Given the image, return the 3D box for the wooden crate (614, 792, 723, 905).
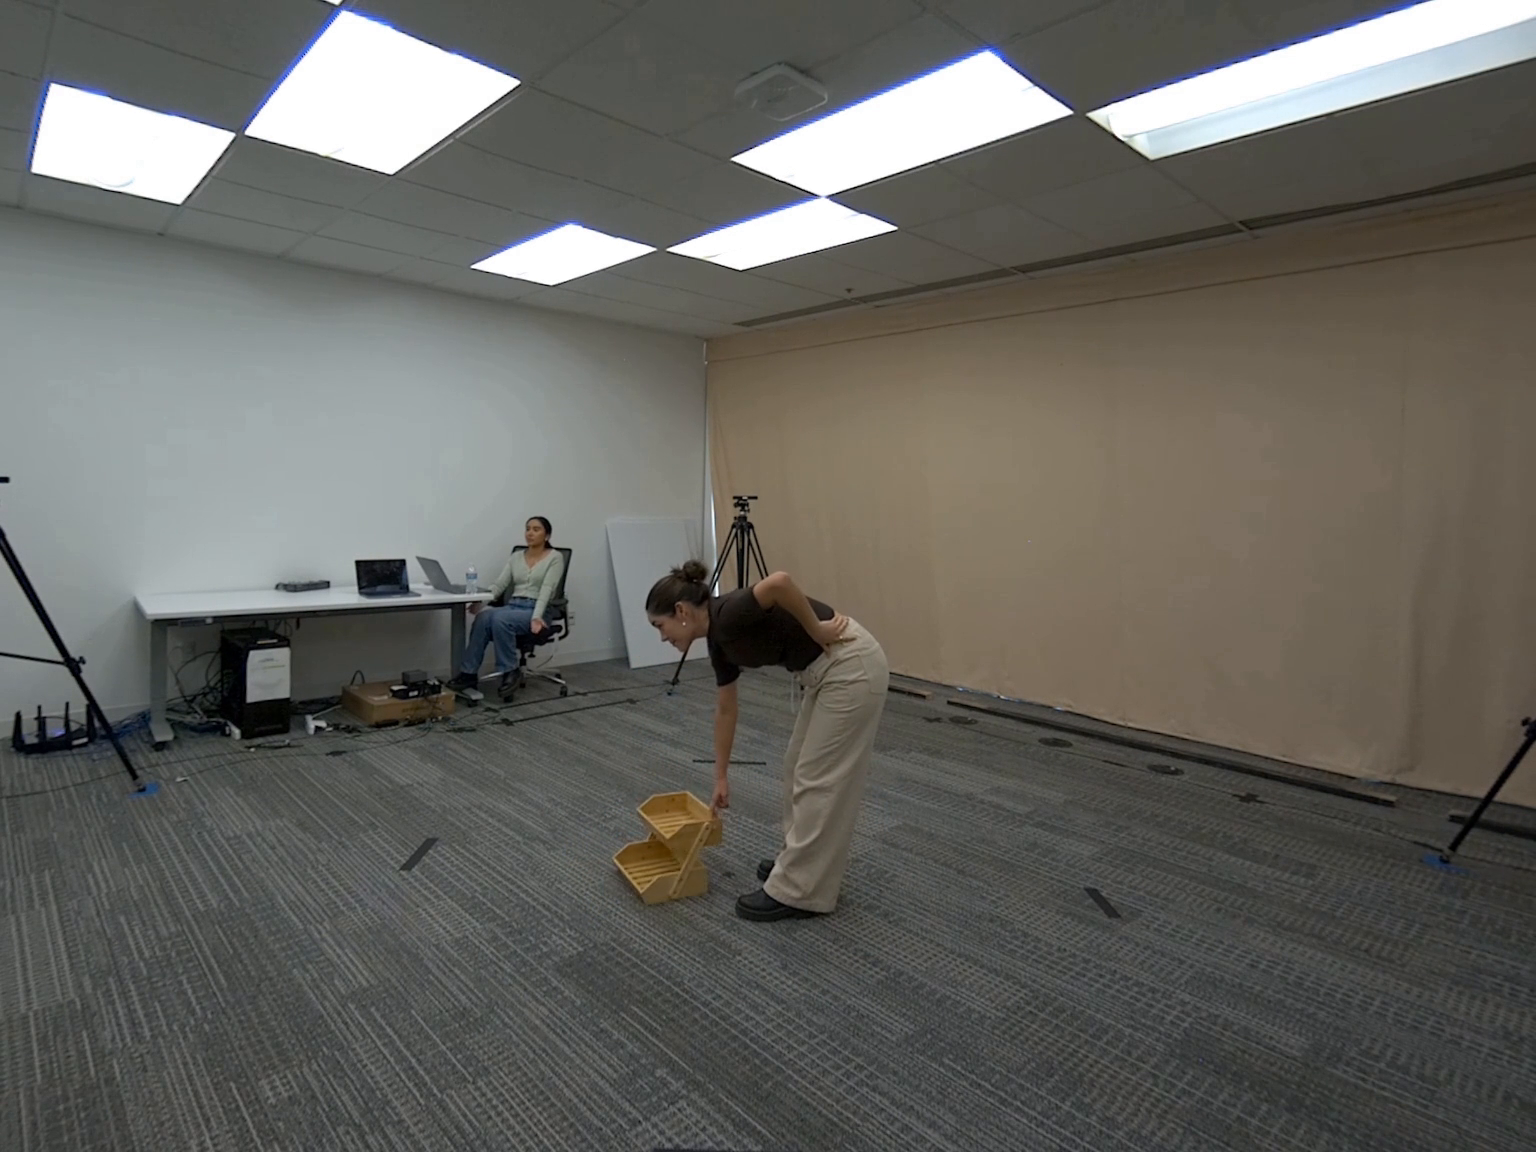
[{"bbox_3d":[-0.377,0.970,3.042,0.296,0.272,0.332,0,5,-29],"label":"wooden crate"}]
